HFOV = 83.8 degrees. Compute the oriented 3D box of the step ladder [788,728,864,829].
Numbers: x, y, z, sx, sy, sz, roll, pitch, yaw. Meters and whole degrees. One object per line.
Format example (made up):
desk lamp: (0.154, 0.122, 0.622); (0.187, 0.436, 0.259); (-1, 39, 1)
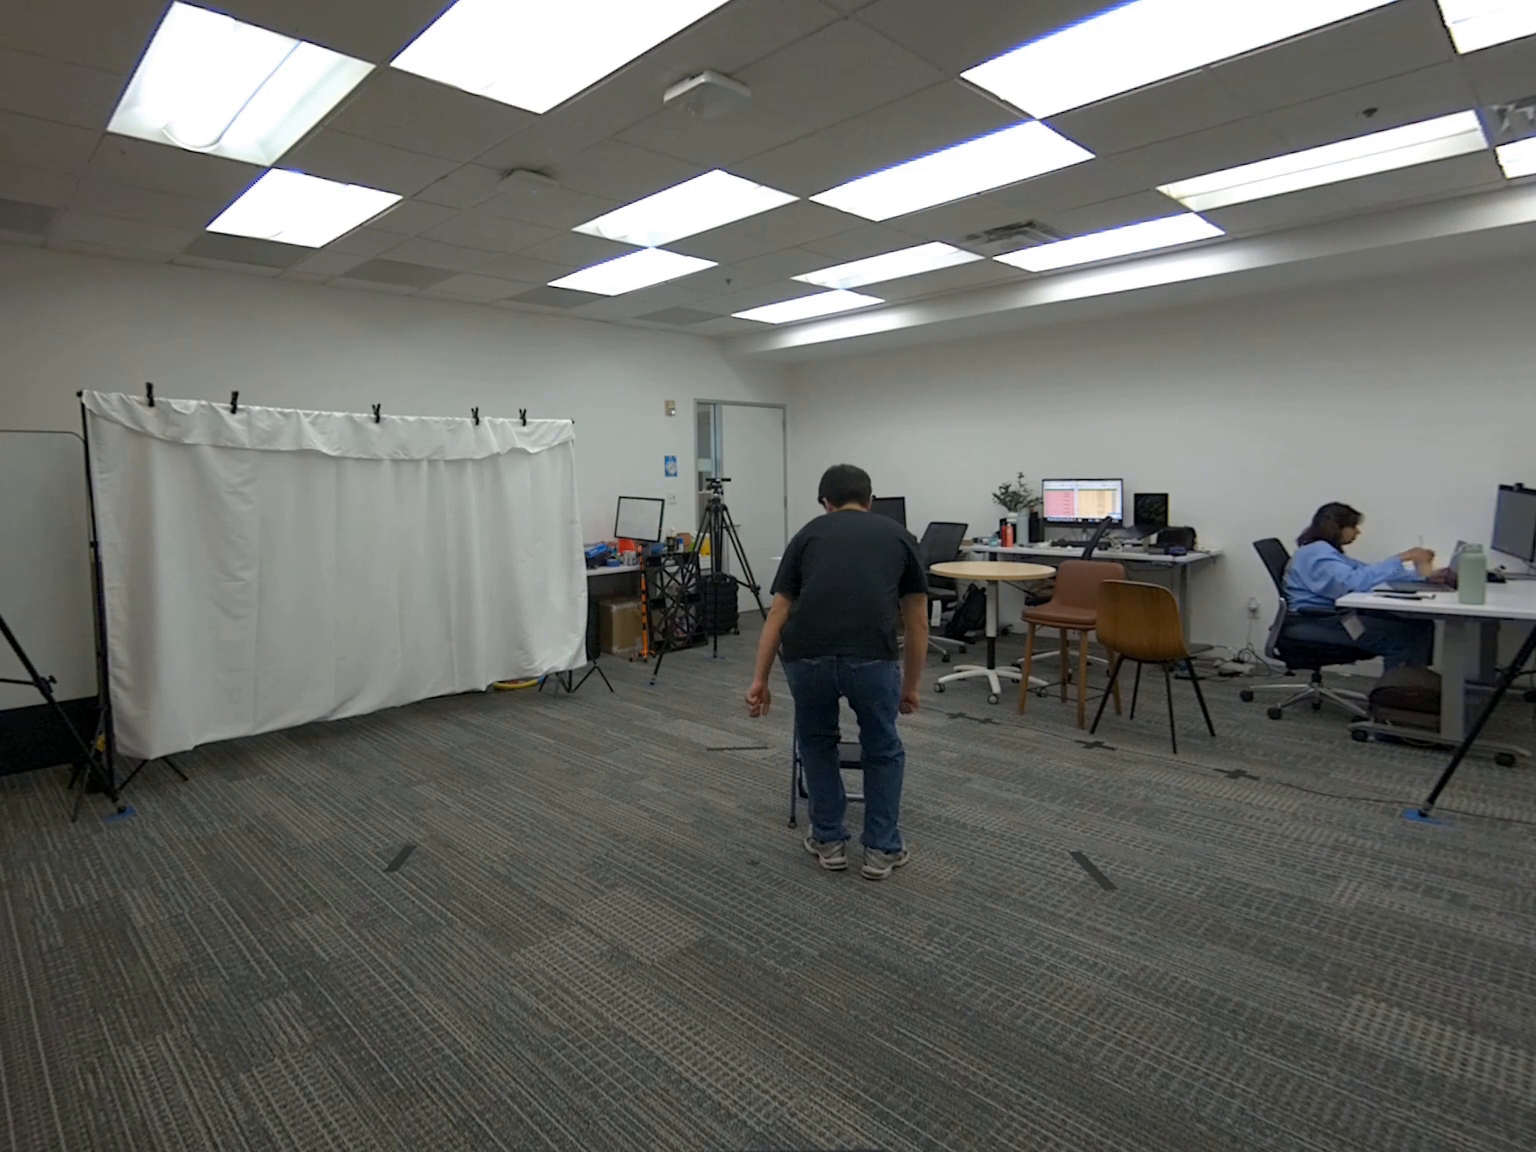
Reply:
step ladder: (0.318, 0.688, 3.526); (0.435, 0.604, 0.347); (0, 4, 10)
